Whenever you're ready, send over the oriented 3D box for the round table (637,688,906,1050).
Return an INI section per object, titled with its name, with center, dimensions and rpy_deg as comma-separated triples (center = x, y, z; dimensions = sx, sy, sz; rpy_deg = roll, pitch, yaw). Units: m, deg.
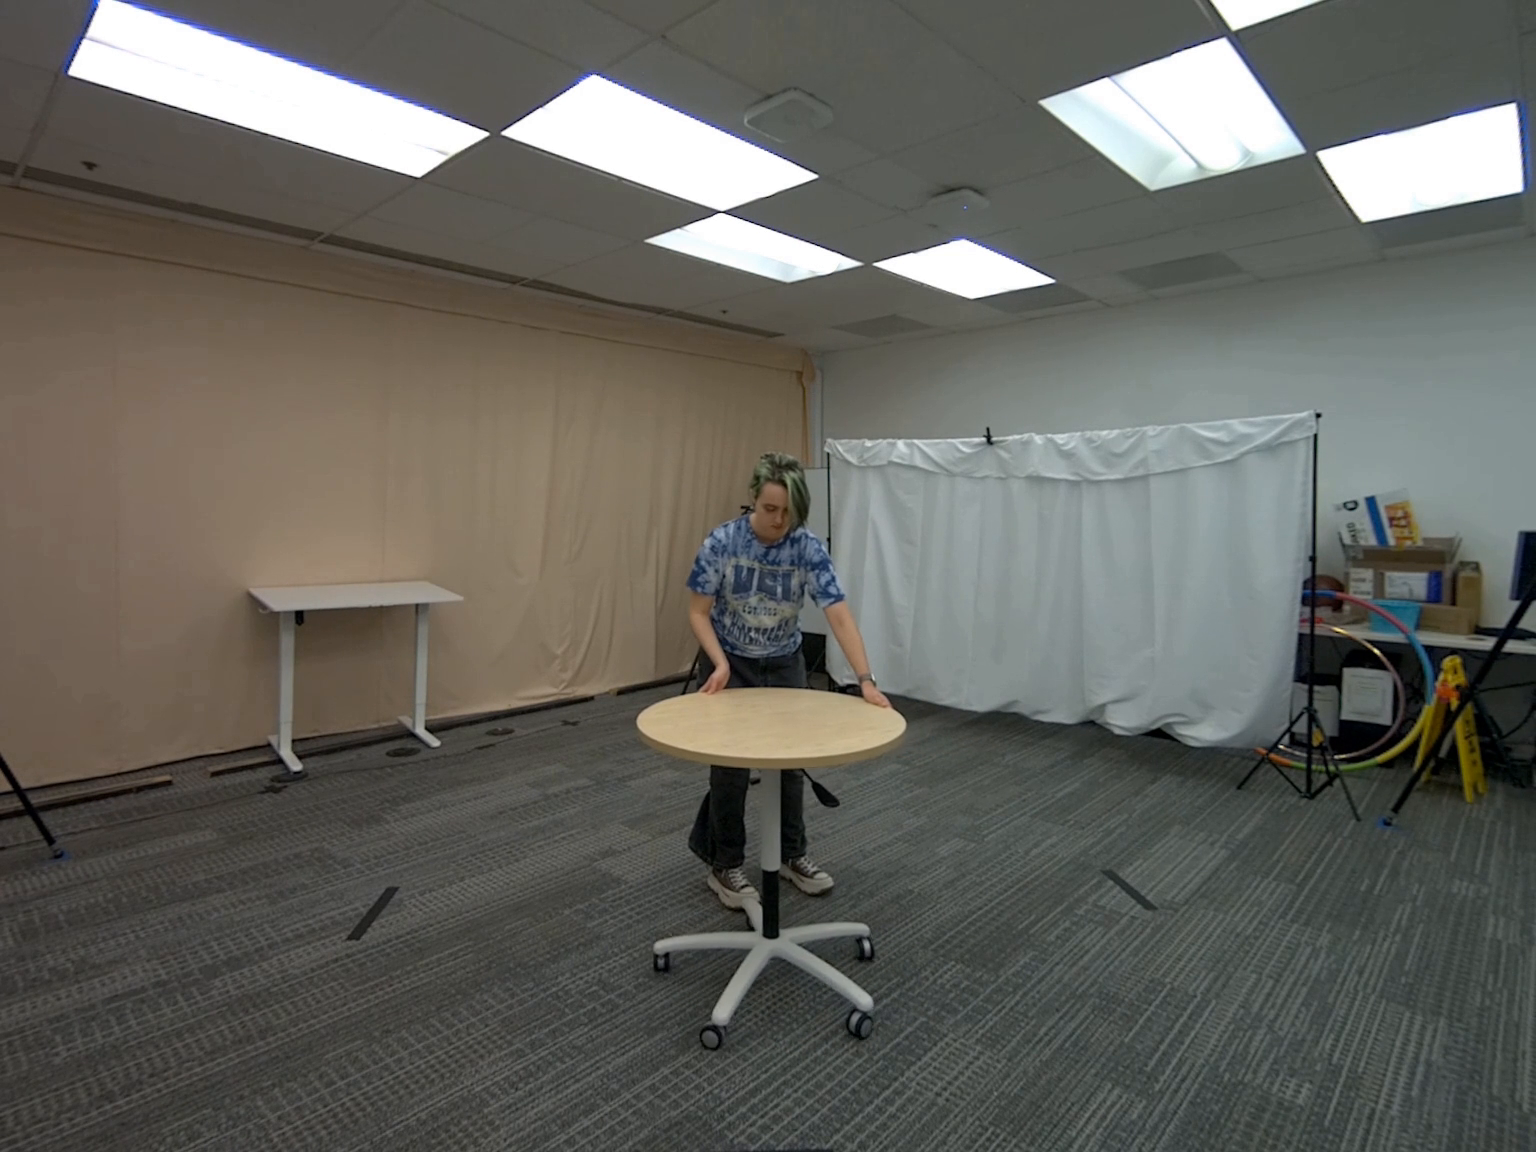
[round table]
center = 0.011, 0.800, 2.438
dimensions = 0.763, 0.792, 0.767
rpy_deg = 0, 4, -2
